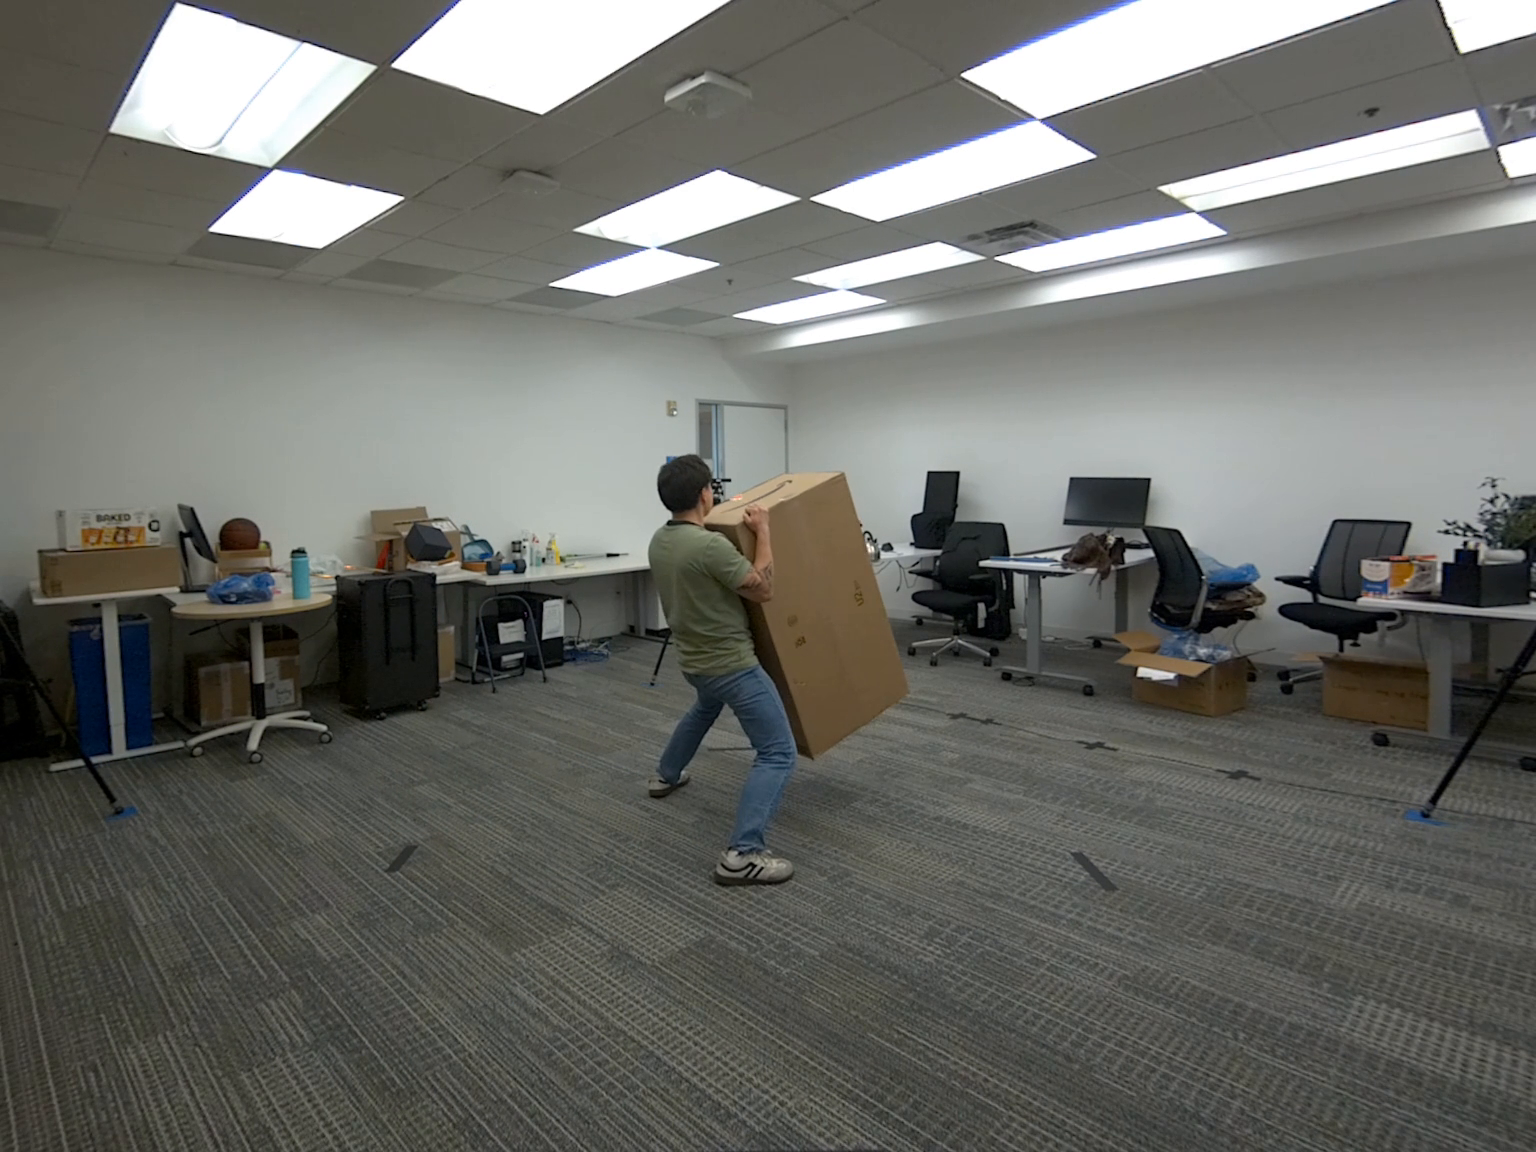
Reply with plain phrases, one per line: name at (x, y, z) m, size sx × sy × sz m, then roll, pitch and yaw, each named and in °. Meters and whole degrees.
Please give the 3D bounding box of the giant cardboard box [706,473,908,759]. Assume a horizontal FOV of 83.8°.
giant cardboard box at (0.128, 0.138, 3.632) m, size 0.570 × 1.009 × 0.438 m, roll -26°, pitch 17°, yaw -30°
